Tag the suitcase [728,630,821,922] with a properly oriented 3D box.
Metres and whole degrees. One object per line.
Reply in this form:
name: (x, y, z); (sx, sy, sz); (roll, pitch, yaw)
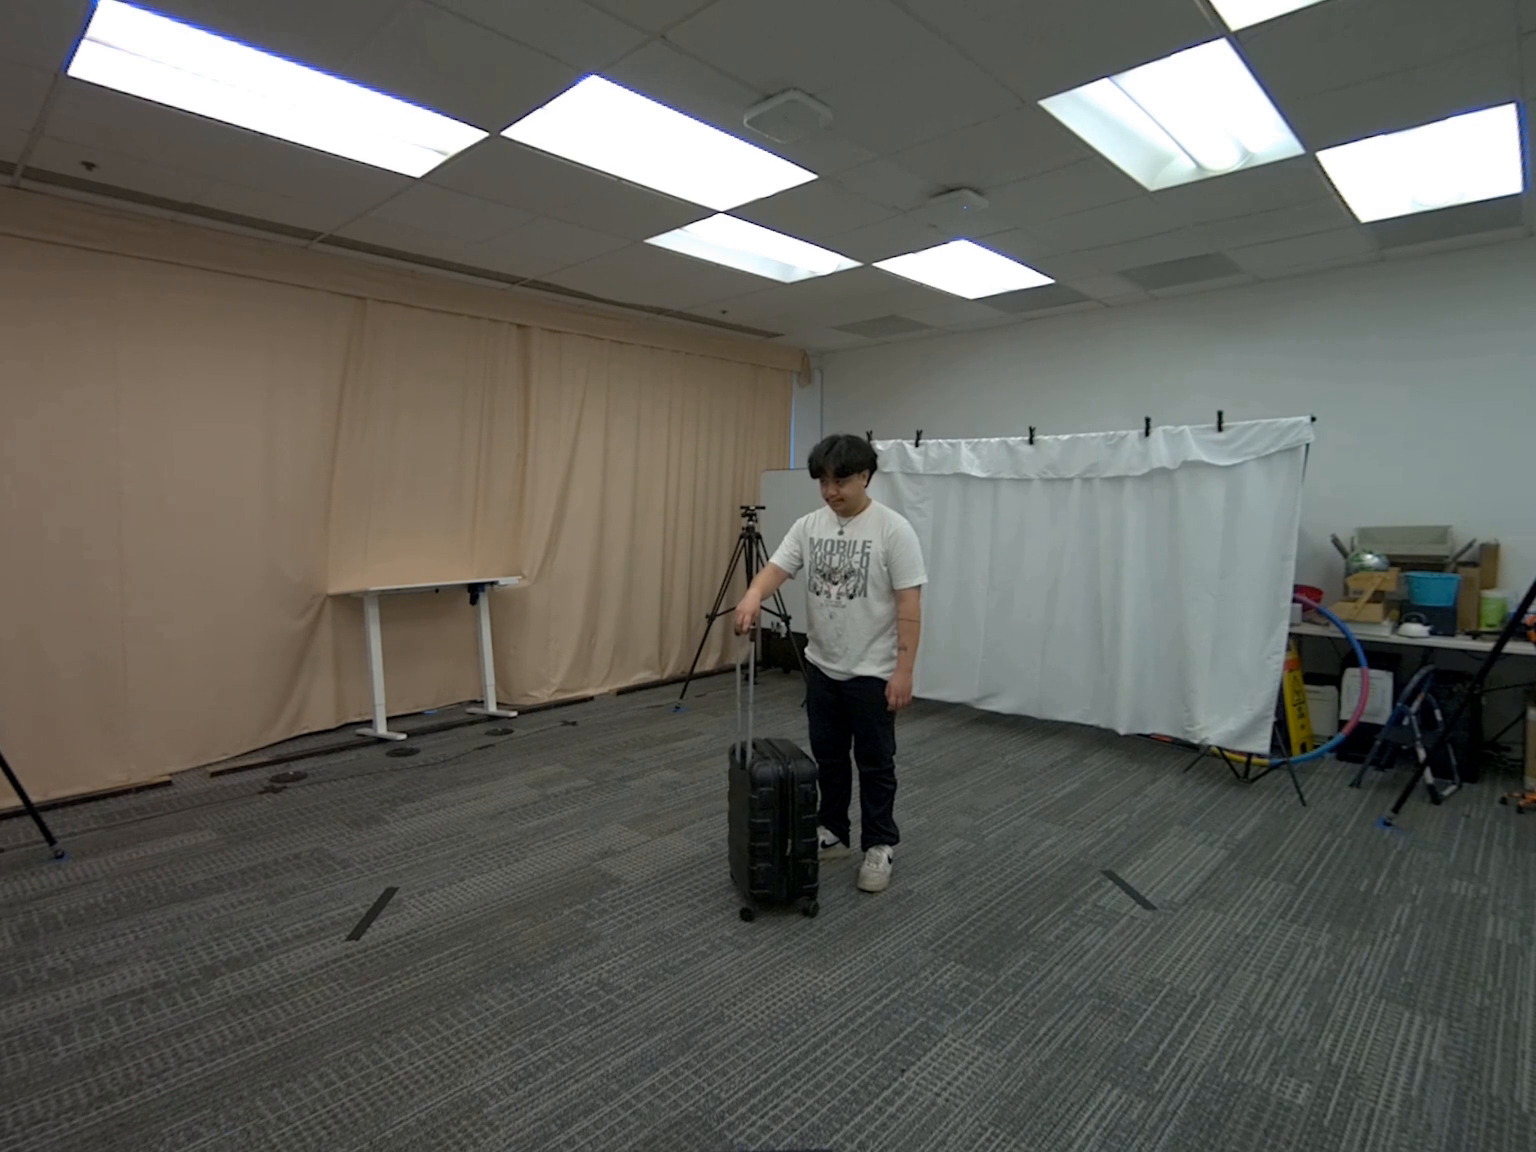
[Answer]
suitcase: (0.020, 0.669, 2.972); (0.254, 0.977, 0.389); (1, 3, -12)
